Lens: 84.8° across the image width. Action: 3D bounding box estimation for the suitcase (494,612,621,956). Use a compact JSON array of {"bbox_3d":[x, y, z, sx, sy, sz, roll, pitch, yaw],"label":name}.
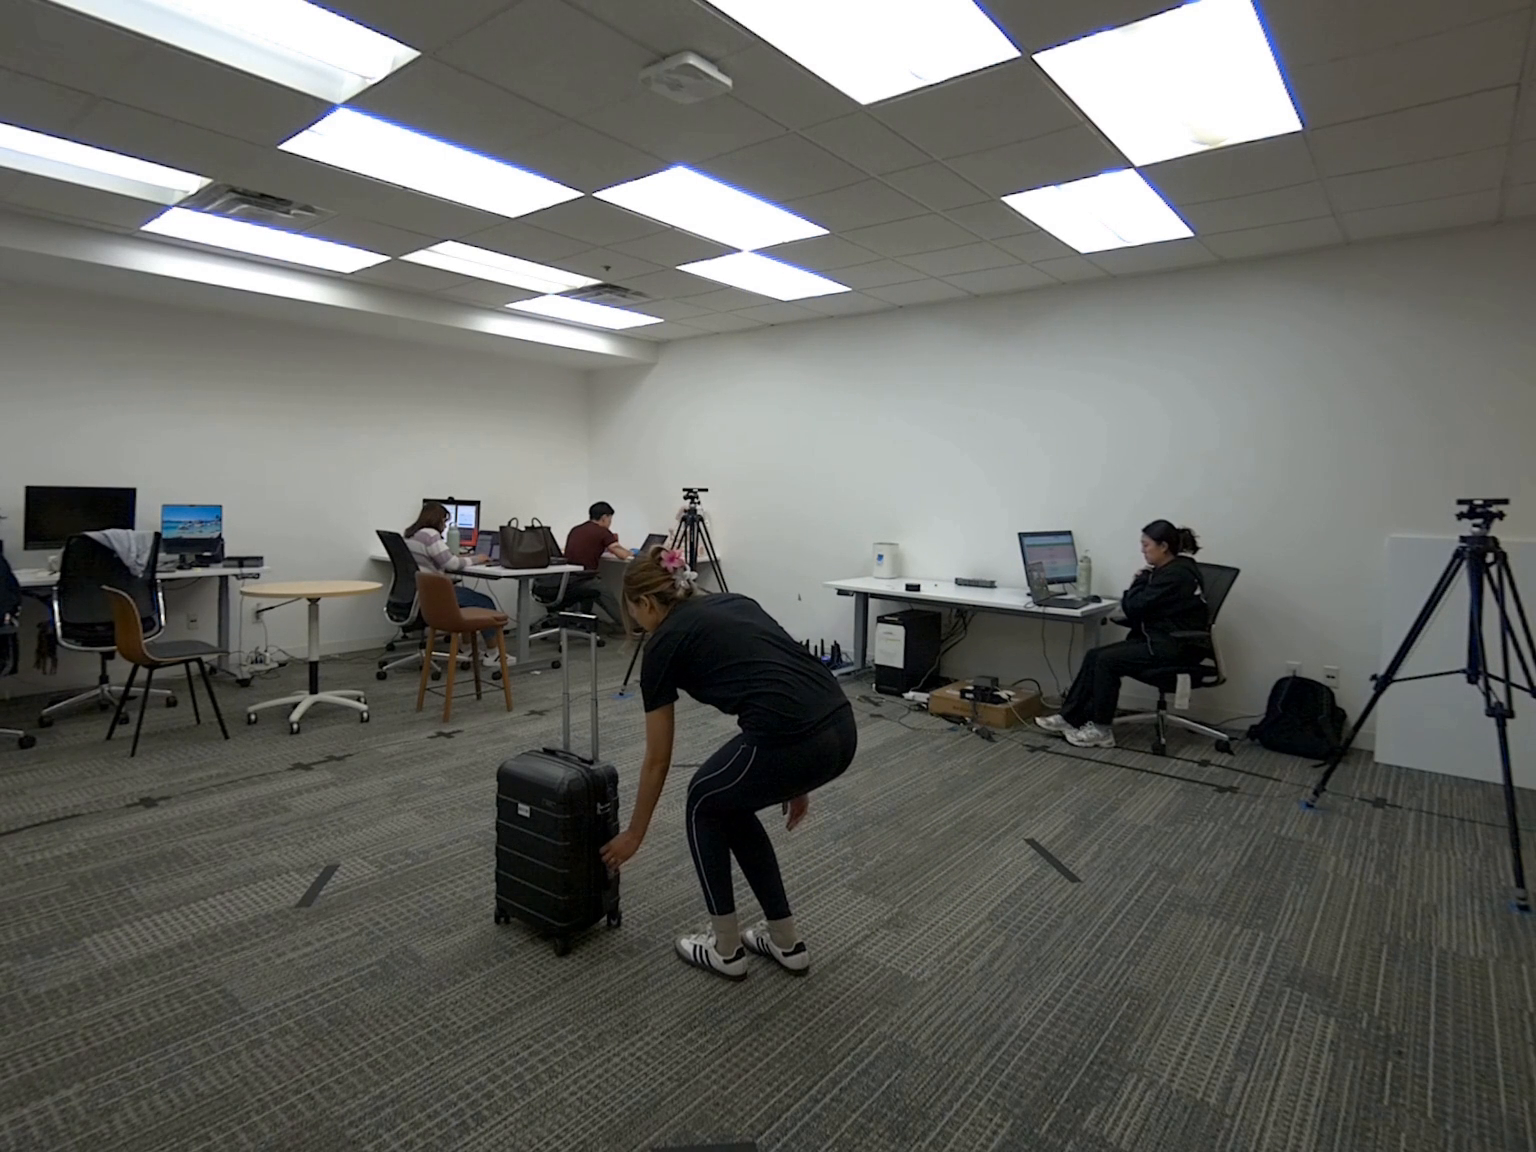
[{"bbox_3d":[-0.672,0.633,2.644,0.396,0.973,0.250,5,8,35],"label":"suitcase"}]
